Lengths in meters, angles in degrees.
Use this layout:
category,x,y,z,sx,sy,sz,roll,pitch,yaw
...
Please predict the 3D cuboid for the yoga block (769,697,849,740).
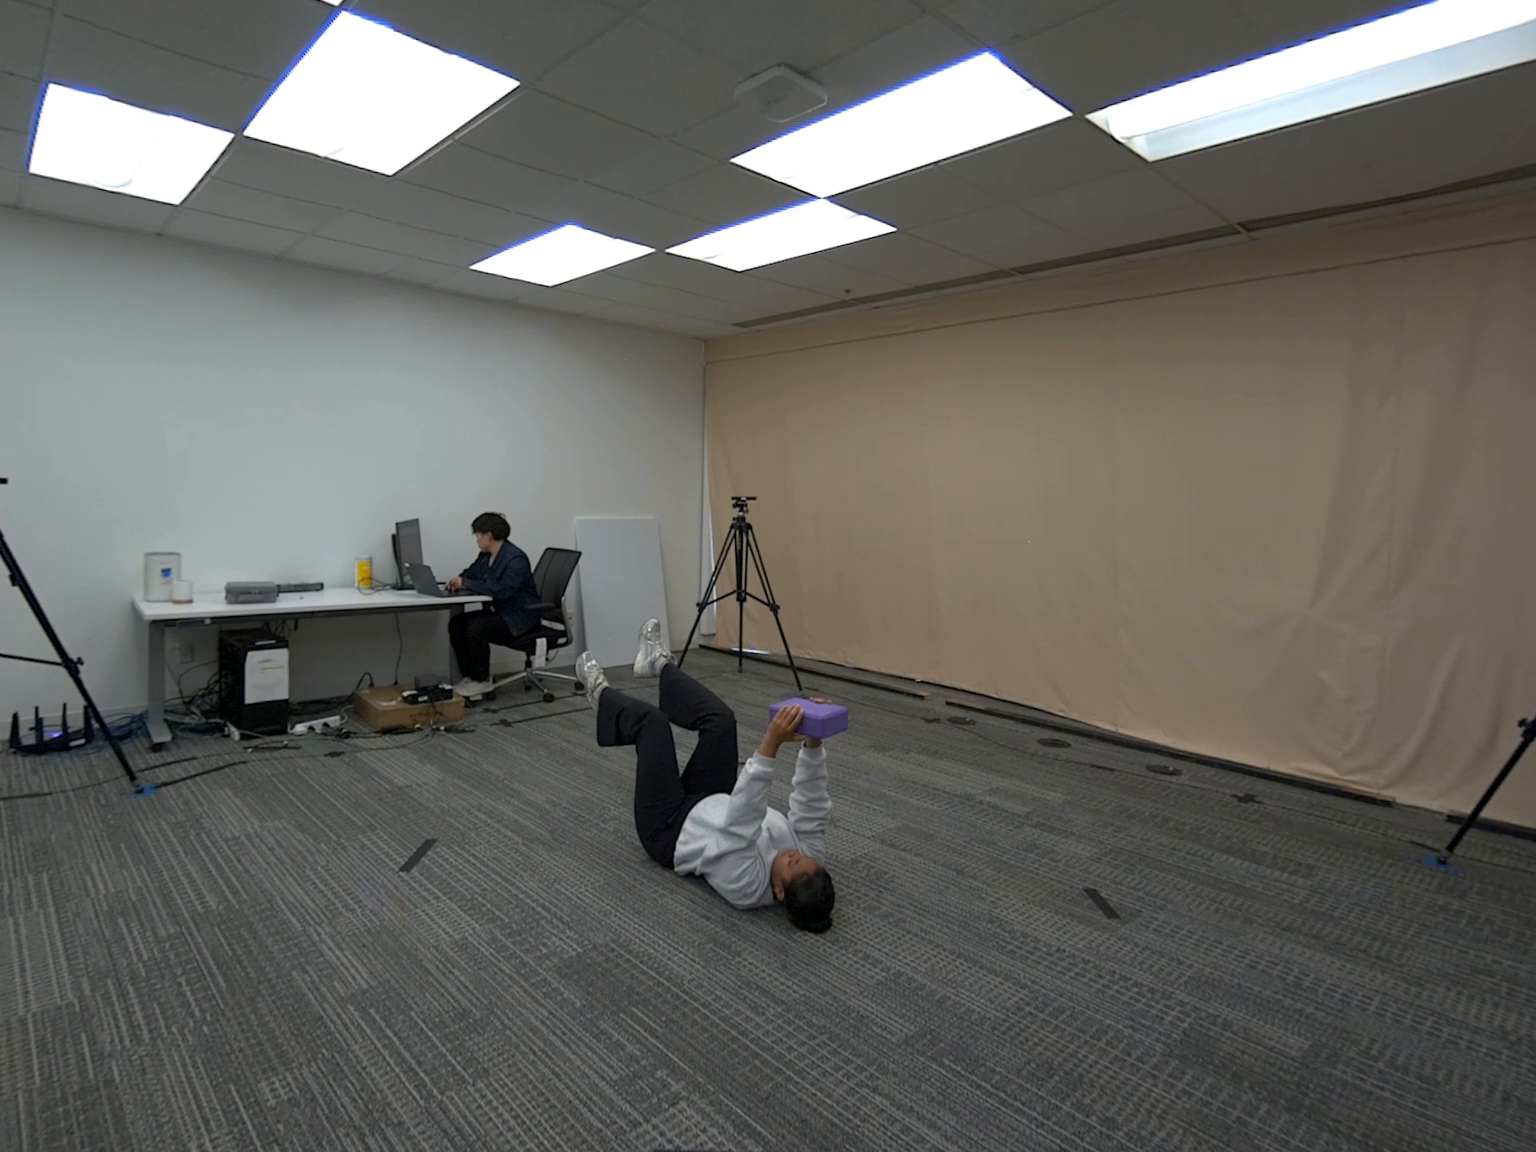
category,x,y,z,sx,sy,sz,roll,pitch,yaw
yoga block,0.126,0.471,2.799,0.235,0.076,0.146,3,7,41
